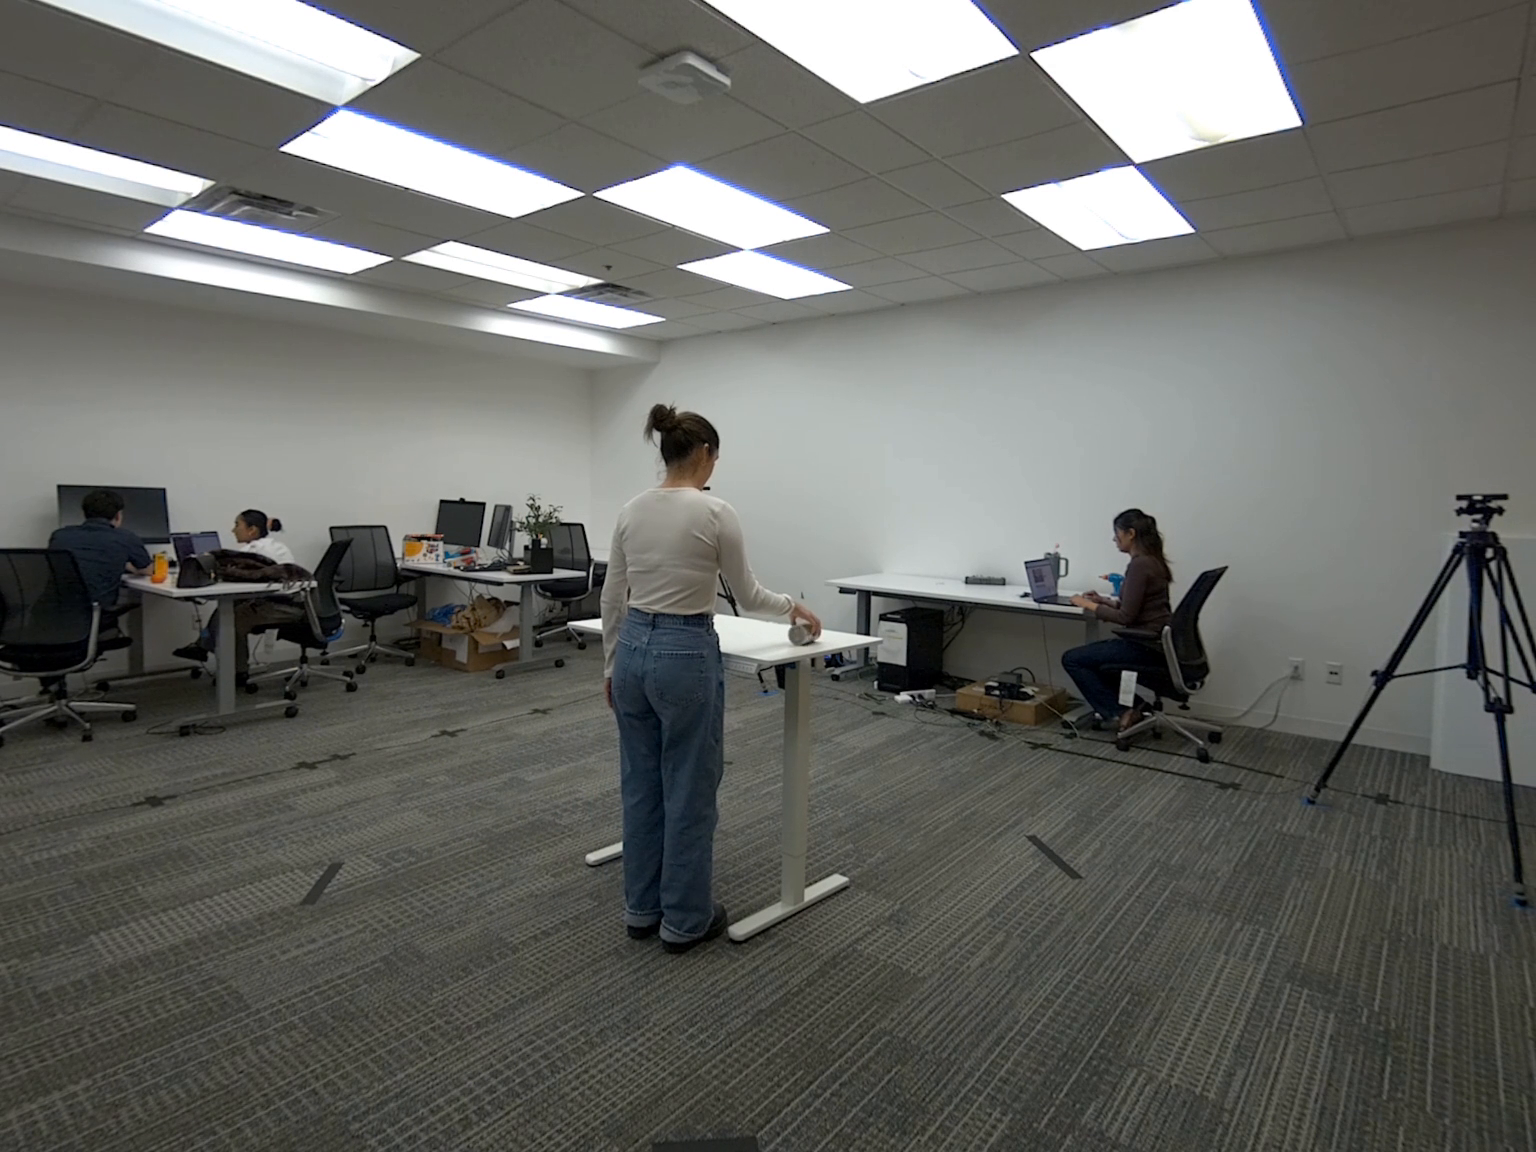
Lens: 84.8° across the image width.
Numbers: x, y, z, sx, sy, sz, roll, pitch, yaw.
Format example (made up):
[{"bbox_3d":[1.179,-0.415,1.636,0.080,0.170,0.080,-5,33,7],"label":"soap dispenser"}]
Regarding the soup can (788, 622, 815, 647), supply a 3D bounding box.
[{"bbox_3d":[0.112,0.184,2.787,0.069,0.067,0.118,4,4,39],"label":"soup can"}]
